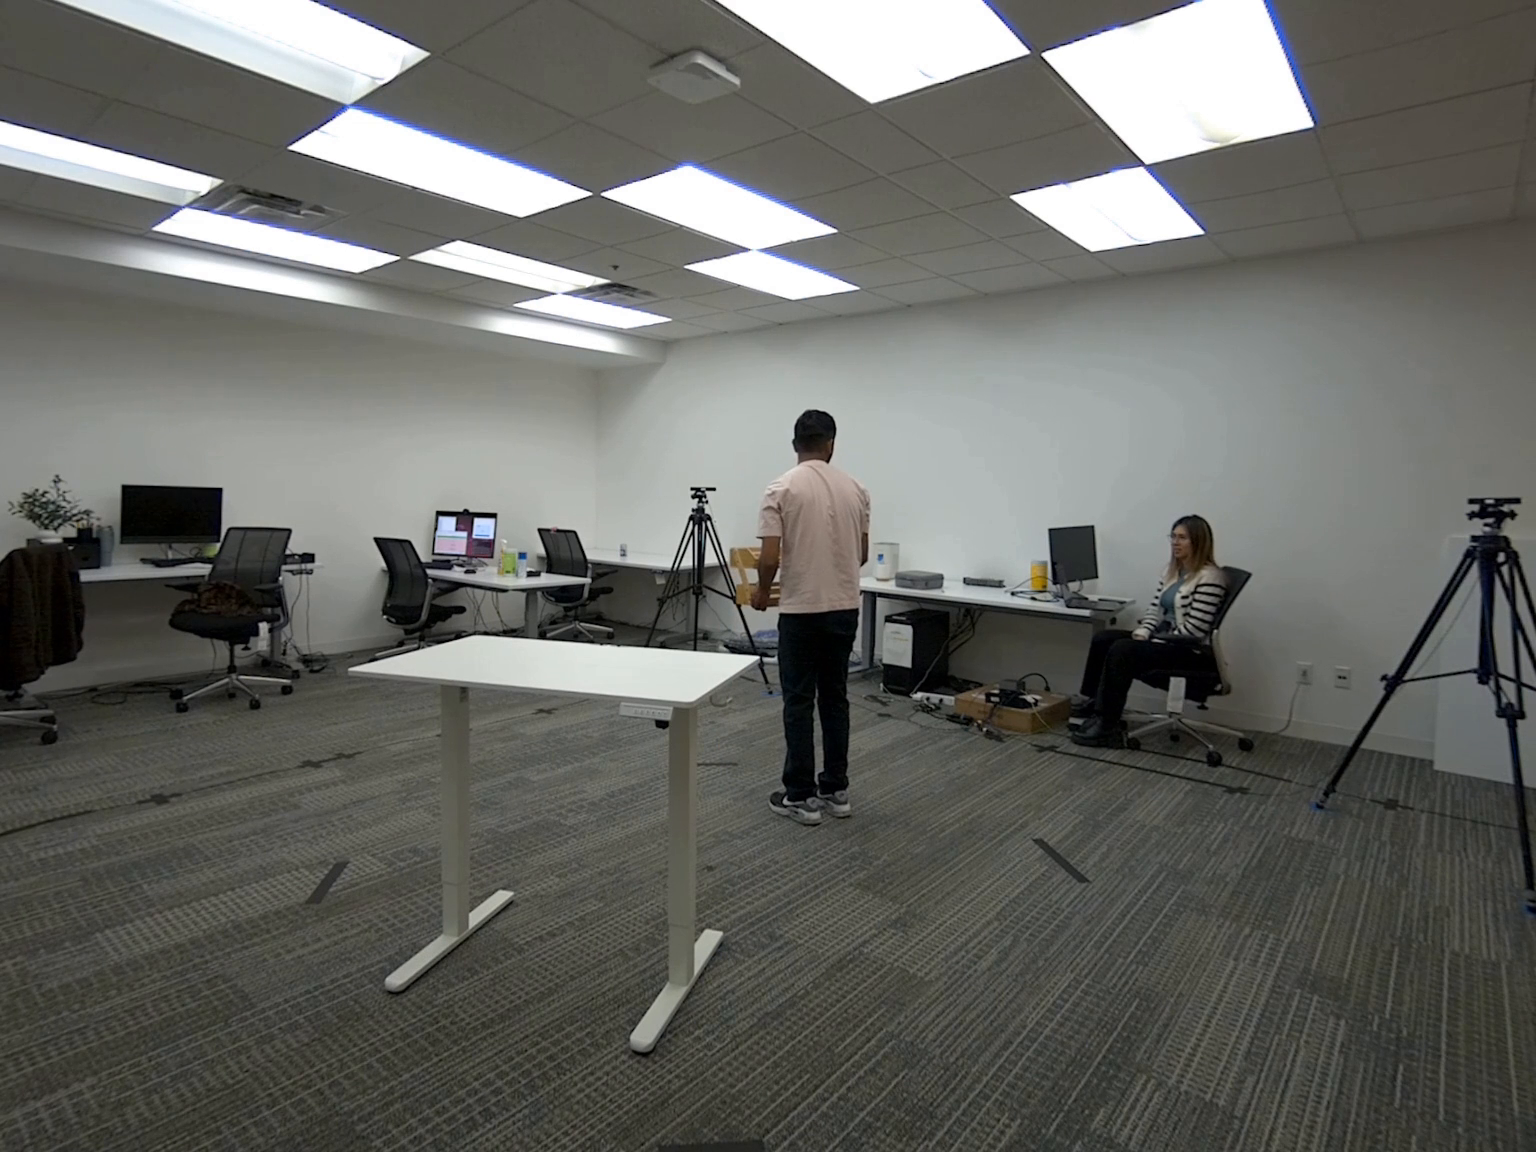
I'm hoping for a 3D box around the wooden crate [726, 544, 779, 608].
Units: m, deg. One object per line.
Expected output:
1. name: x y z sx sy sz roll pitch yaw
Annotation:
1. wooden crate: 0.025 -0.011 3.961 0.315 0.273 0.311 -2 2 -35
